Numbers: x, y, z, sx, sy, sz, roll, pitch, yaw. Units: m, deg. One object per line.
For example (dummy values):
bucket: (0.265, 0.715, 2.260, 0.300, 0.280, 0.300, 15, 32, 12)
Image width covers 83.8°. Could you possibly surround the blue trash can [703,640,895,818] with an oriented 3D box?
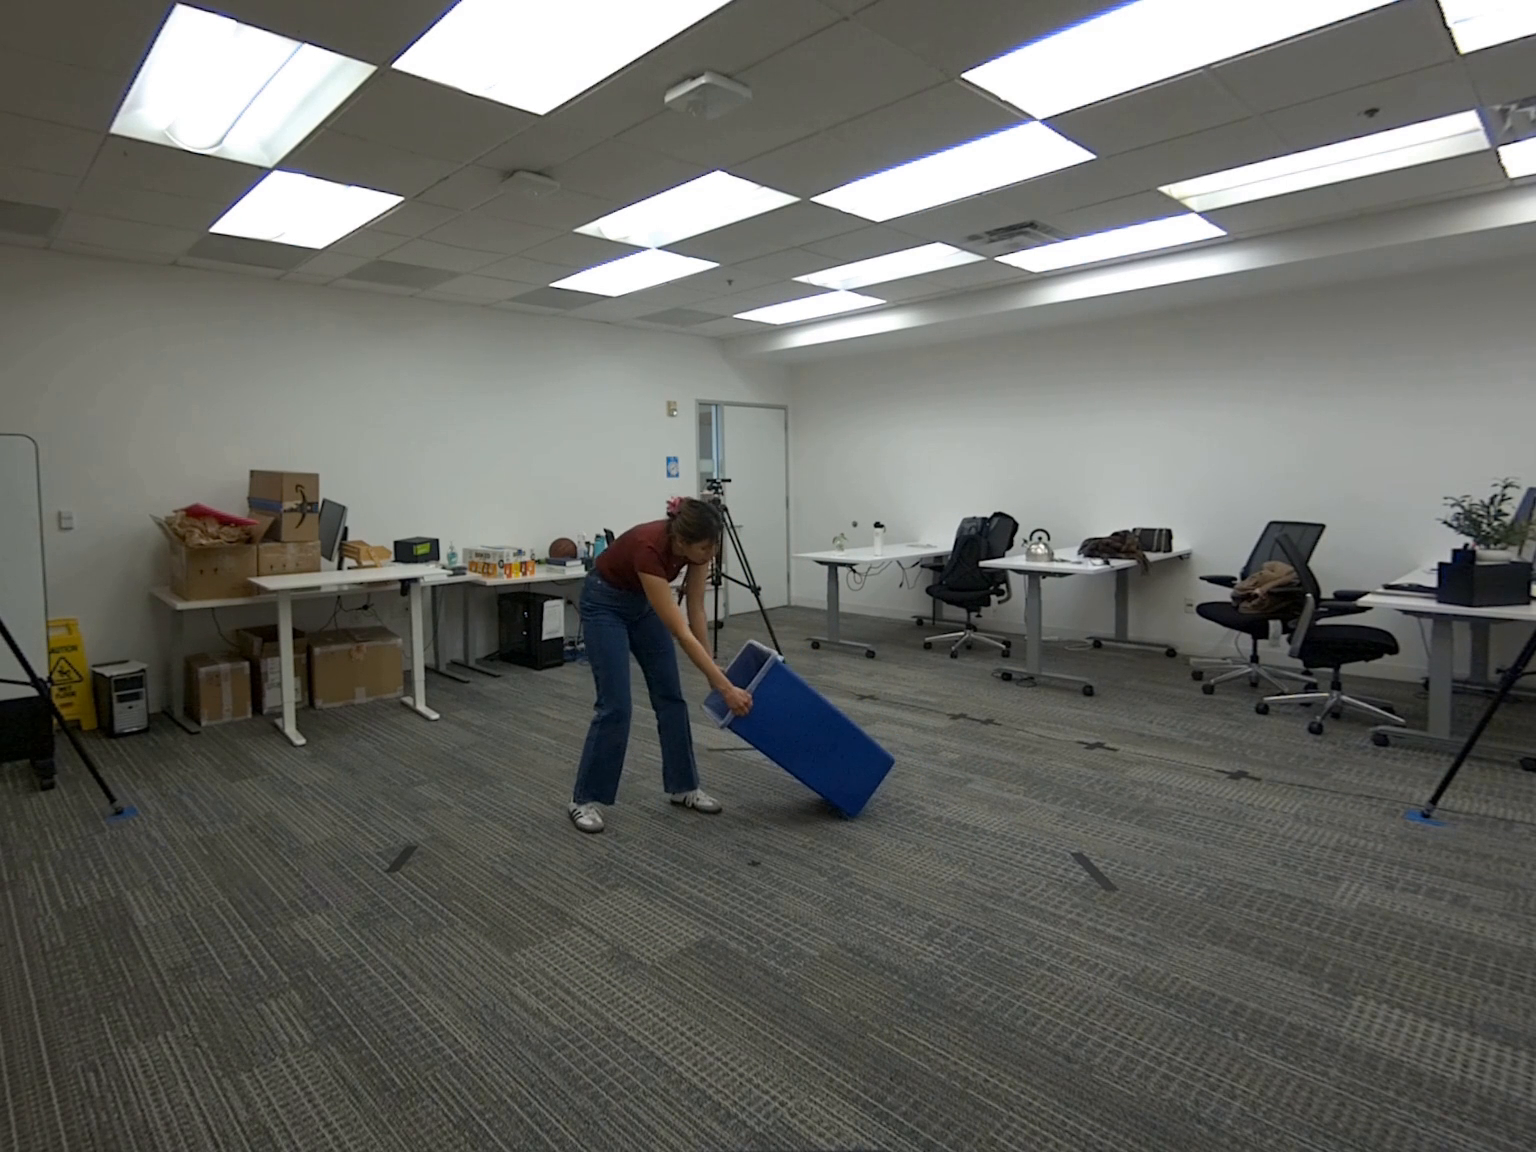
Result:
blue trash can: (0.126, 0.649, 3.538, 0.703, 0.374, 0.384, 40, -8, -12)
